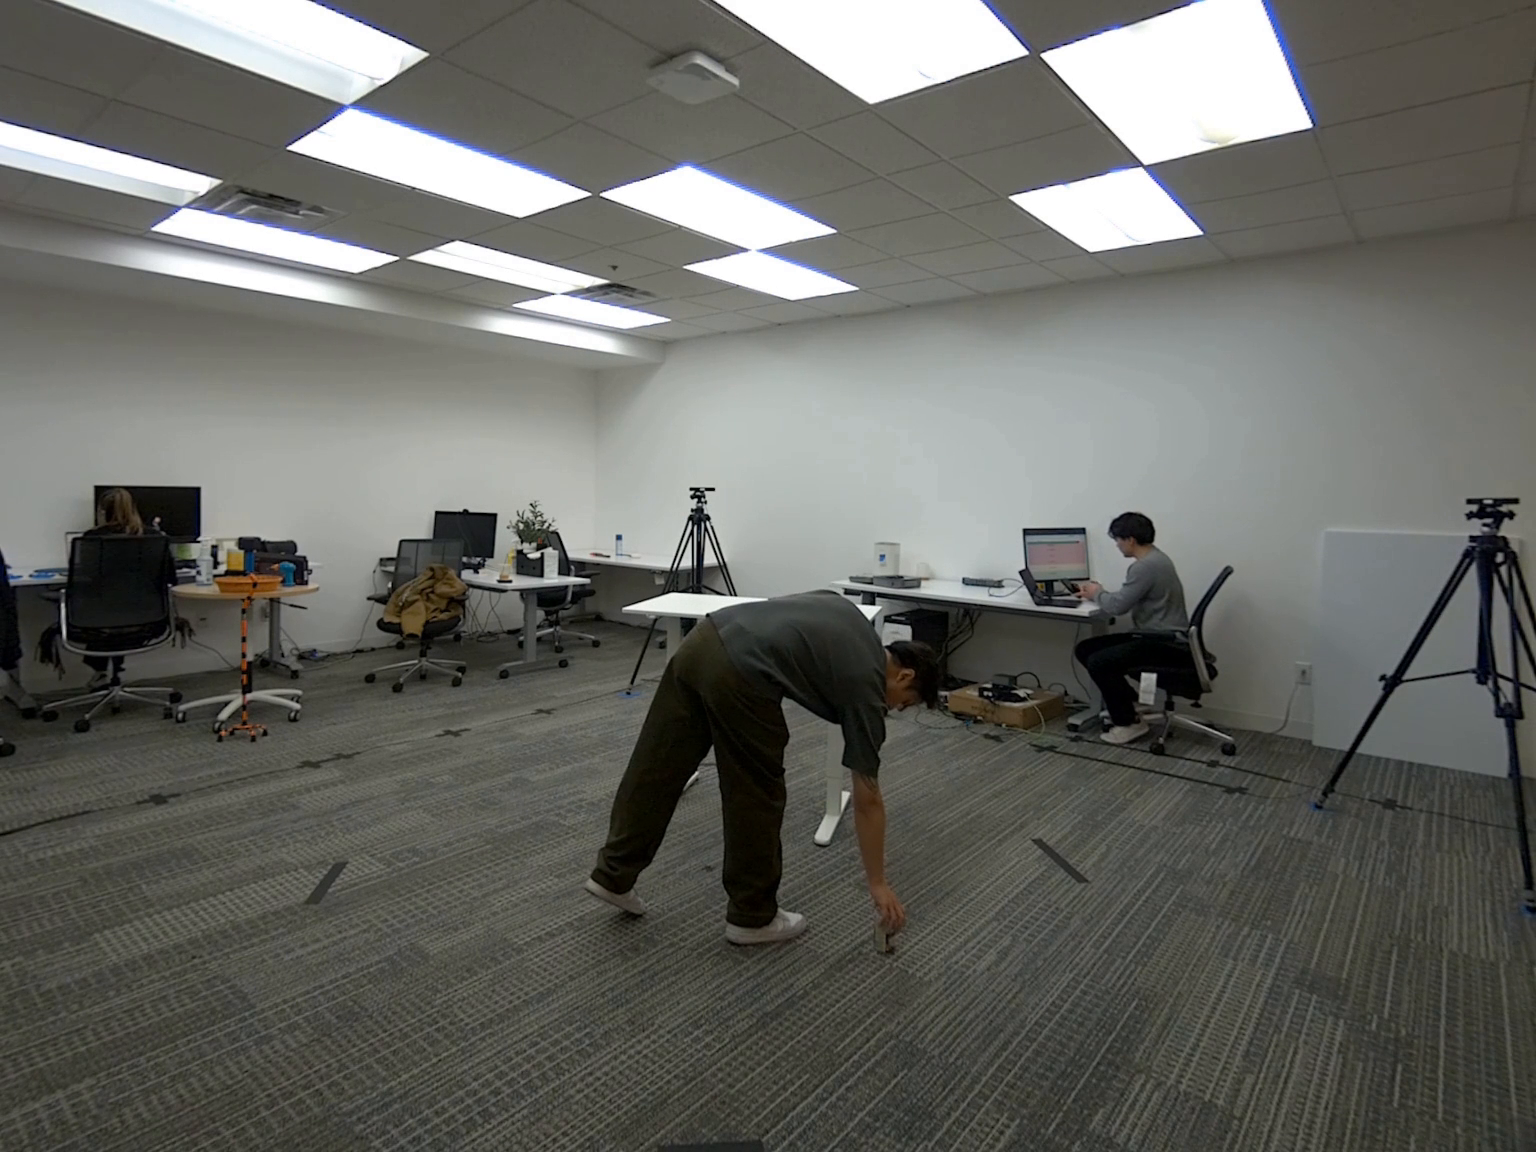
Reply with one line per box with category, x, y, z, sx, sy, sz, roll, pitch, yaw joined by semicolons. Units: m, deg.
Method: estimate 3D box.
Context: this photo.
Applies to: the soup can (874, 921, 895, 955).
soup can;0.345;1.076;2.584;0.067;0.121;0.068;3;7;-2
